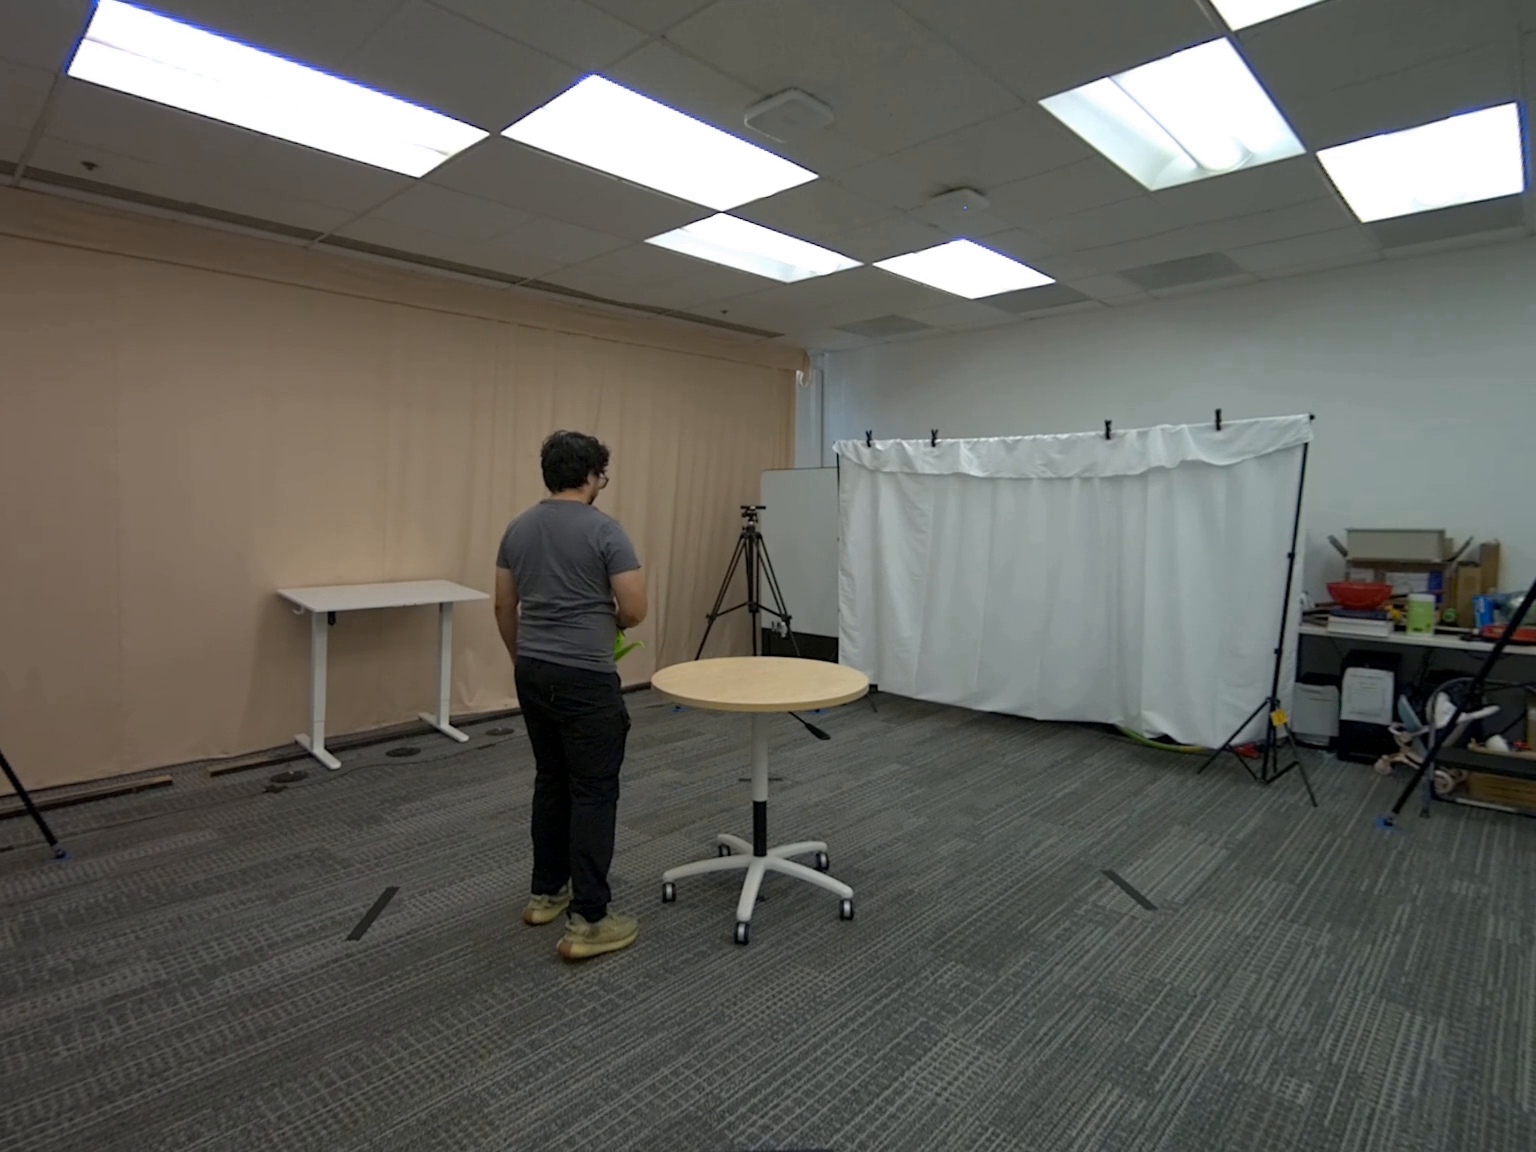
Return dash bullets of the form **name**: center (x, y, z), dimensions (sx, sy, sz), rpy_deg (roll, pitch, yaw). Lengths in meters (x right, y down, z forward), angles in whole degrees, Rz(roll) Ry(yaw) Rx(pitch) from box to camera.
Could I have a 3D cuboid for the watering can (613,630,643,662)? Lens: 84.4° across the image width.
- **watering can**: center (-0.575, 0.251, 3.009), dimensions (0.095, 0.177, 0.287), rpy_deg (25, 7, -32)
